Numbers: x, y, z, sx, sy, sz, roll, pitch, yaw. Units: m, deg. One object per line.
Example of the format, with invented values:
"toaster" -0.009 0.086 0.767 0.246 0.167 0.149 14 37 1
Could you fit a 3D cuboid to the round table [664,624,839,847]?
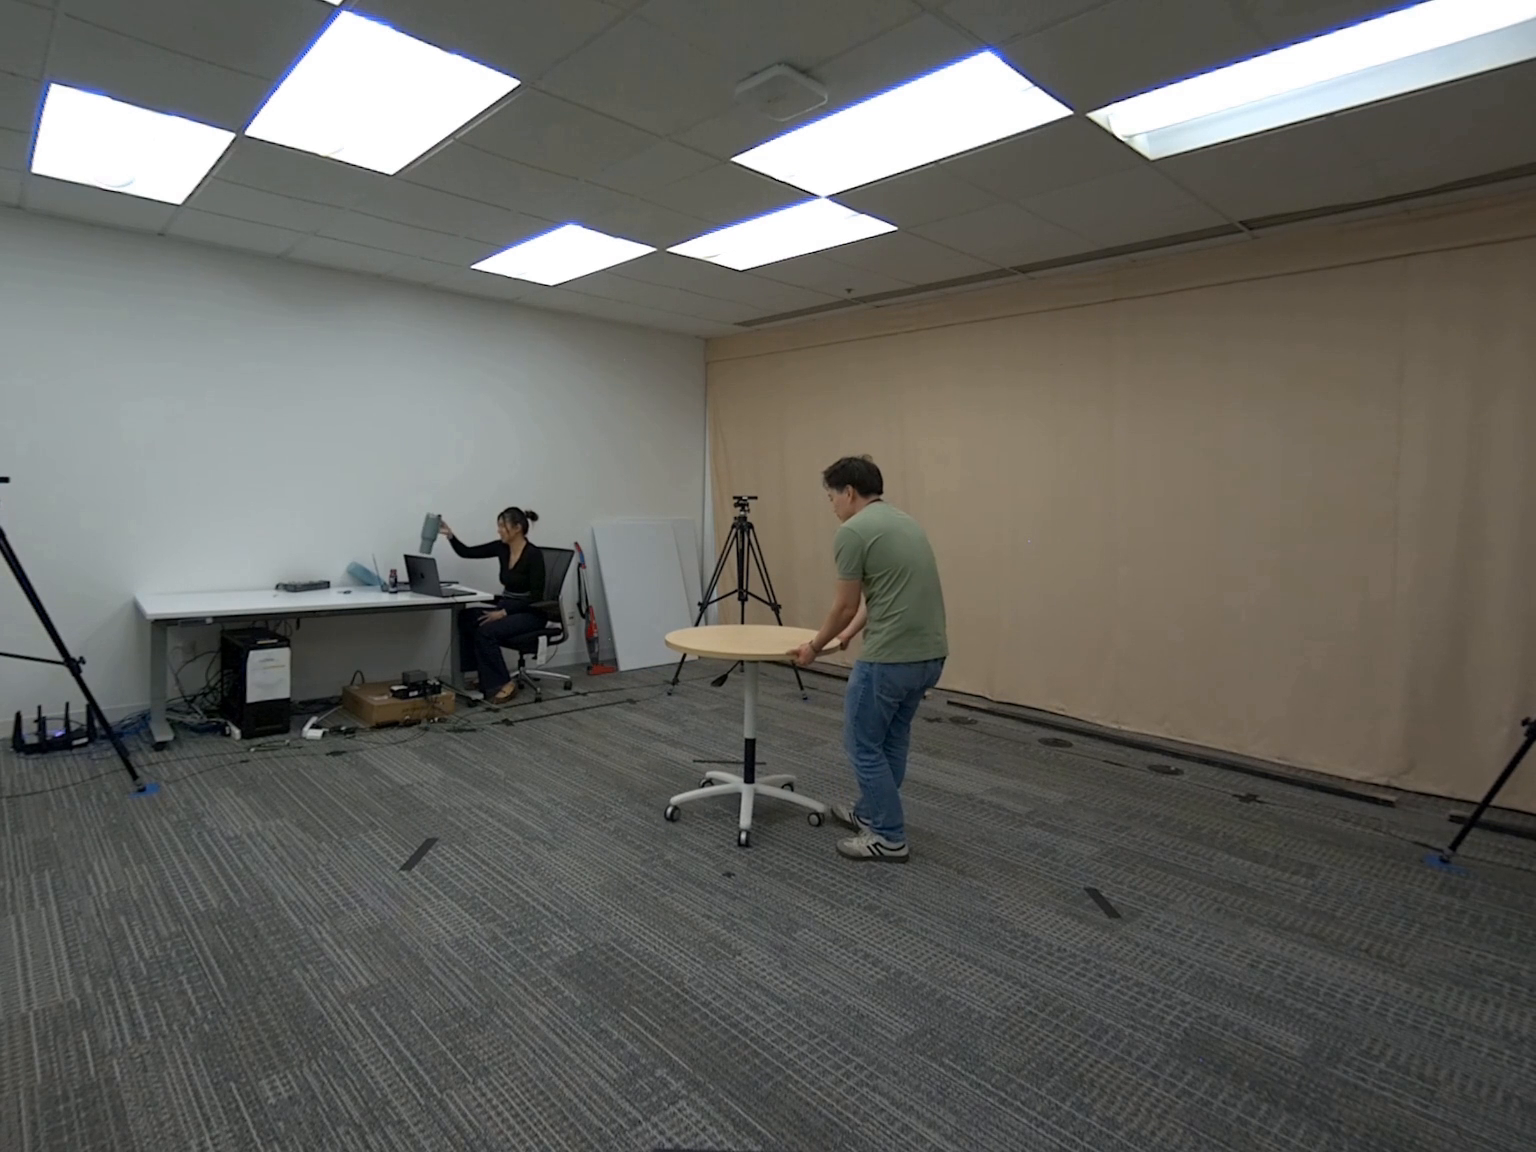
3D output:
"round table" -0.087 0.664 3.704 0.763 0.792 0.766 1 4 -1
